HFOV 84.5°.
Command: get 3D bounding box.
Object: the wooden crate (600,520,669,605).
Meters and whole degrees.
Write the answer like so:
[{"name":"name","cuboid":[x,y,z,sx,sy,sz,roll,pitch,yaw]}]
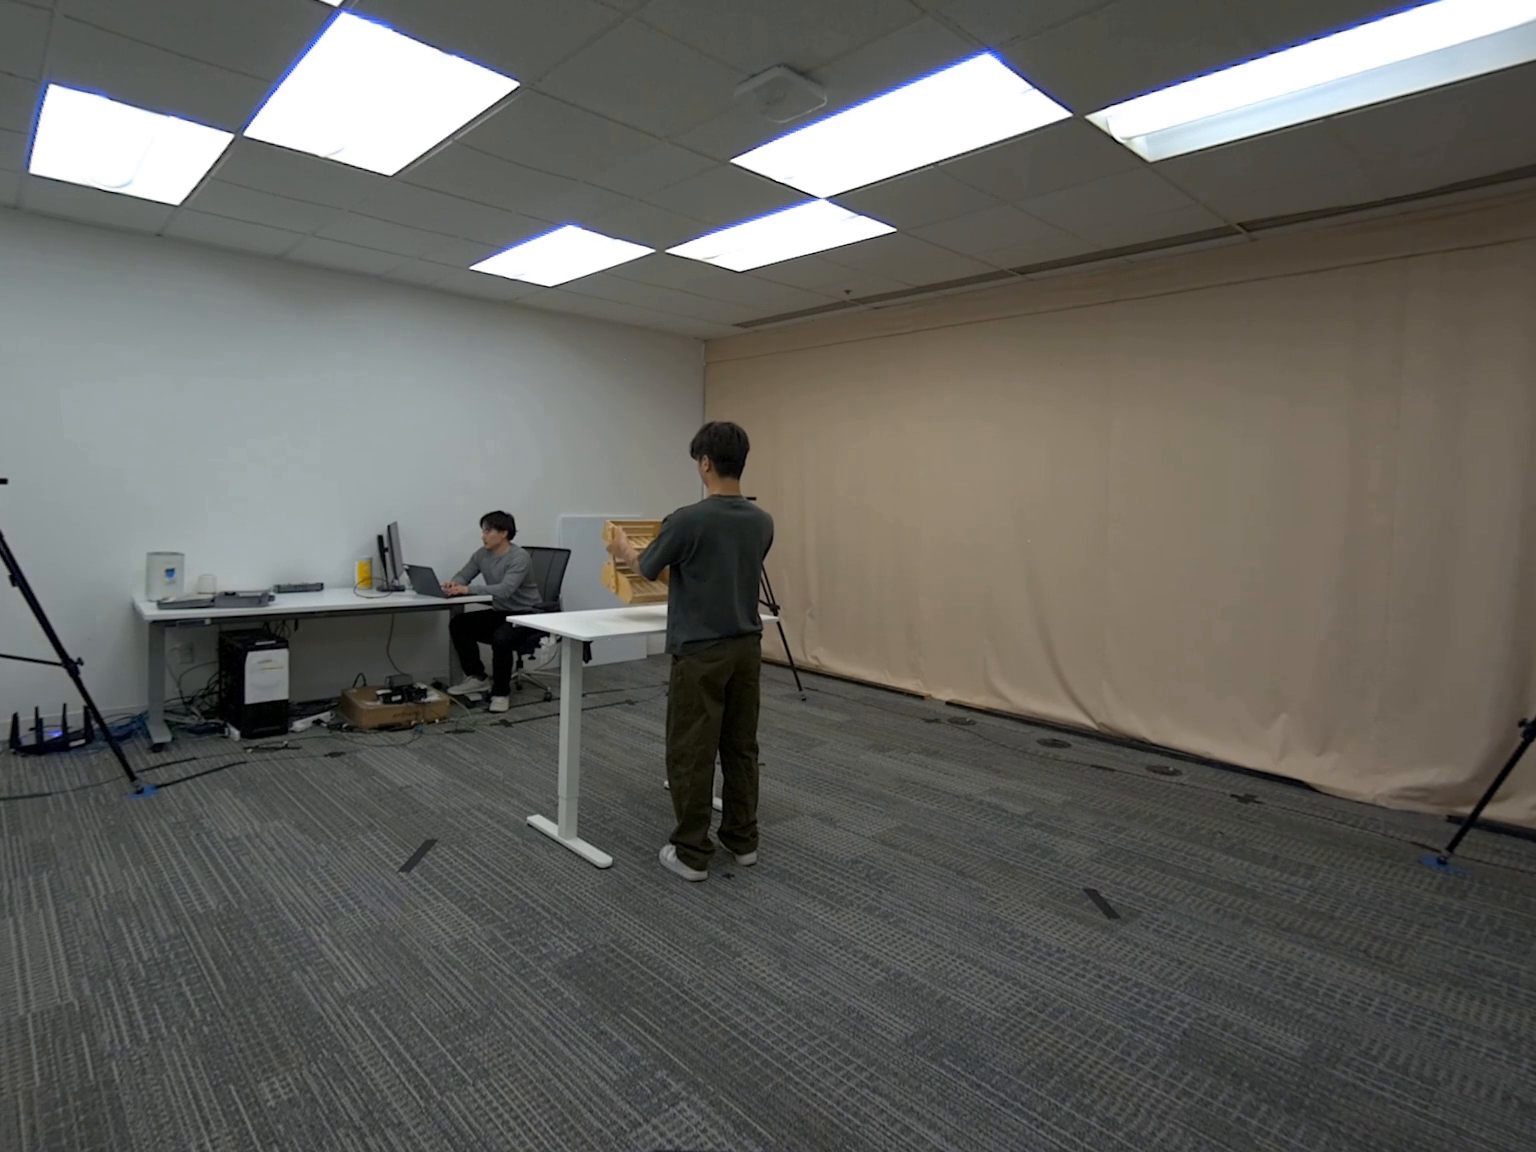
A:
[{"name":"wooden crate","cuboid":[-0.511,-0.066,3.538,0.317,0.271,0.312,-1,23,-41]}]
